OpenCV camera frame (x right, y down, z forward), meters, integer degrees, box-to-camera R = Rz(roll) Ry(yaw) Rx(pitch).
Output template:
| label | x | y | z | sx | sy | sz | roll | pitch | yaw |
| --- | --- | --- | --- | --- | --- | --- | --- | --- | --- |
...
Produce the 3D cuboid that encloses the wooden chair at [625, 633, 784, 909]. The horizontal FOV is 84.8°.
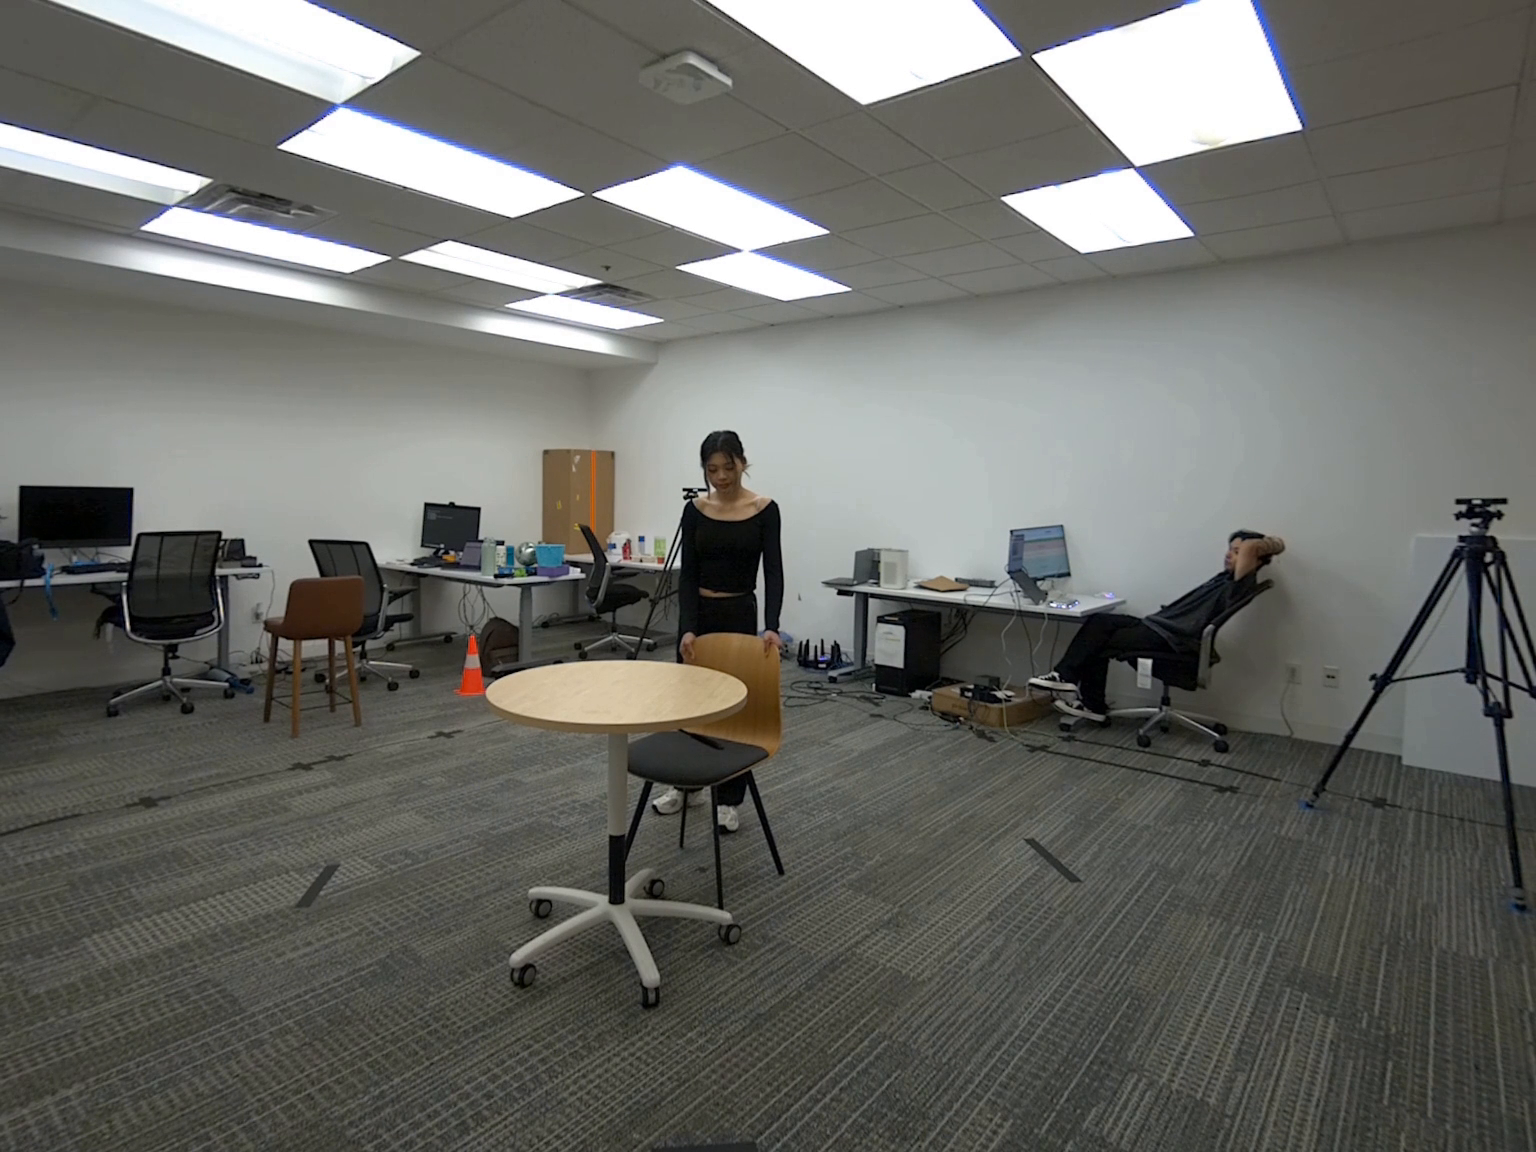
| label | x | y | z | sx | sy | sz | roll | pitch | yaw |
| --- | --- | --- | --- | --- | --- | --- | --- | --- | --- |
| wooden chair | -0.240 | 0.653 | 2.970 | 0.492 | 0.878 | 0.508 | 3 | 0 | 29 |
